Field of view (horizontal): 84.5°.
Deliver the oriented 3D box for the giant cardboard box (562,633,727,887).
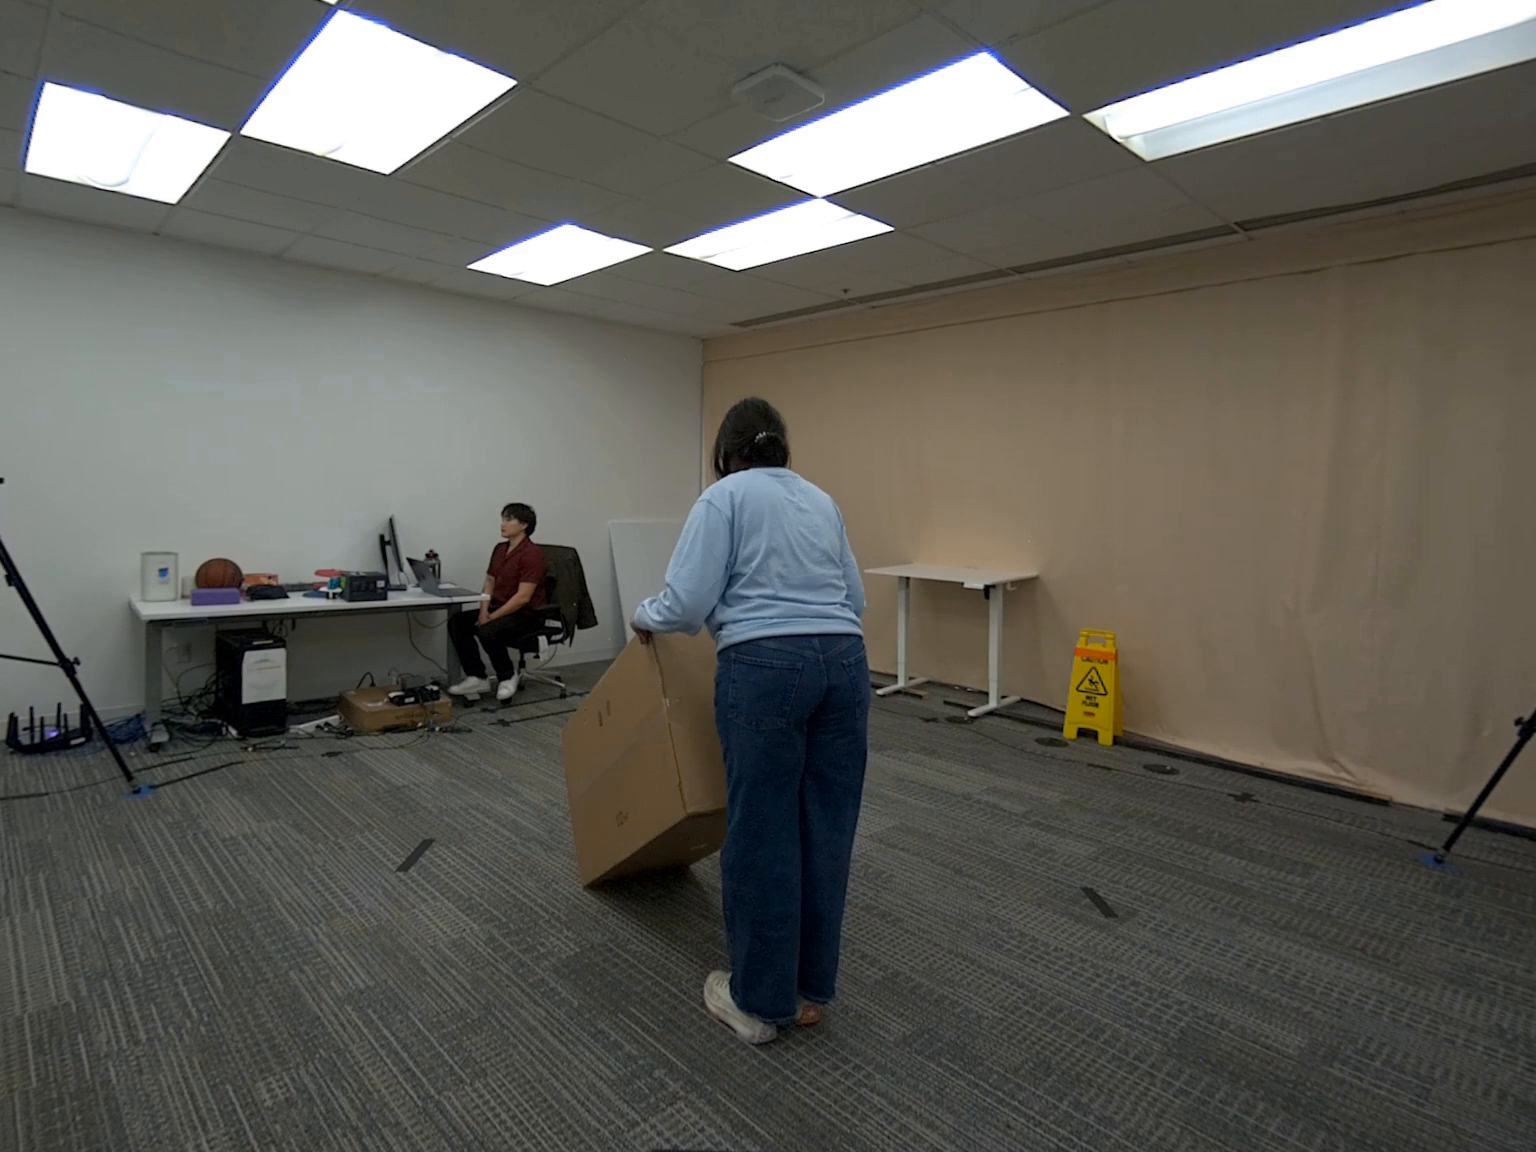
[{"bbox_3d":[-0.336,0.612,2.822,0.438,0.596,1.025,-1,-28,-30],"label":"giant cardboard box"}]
